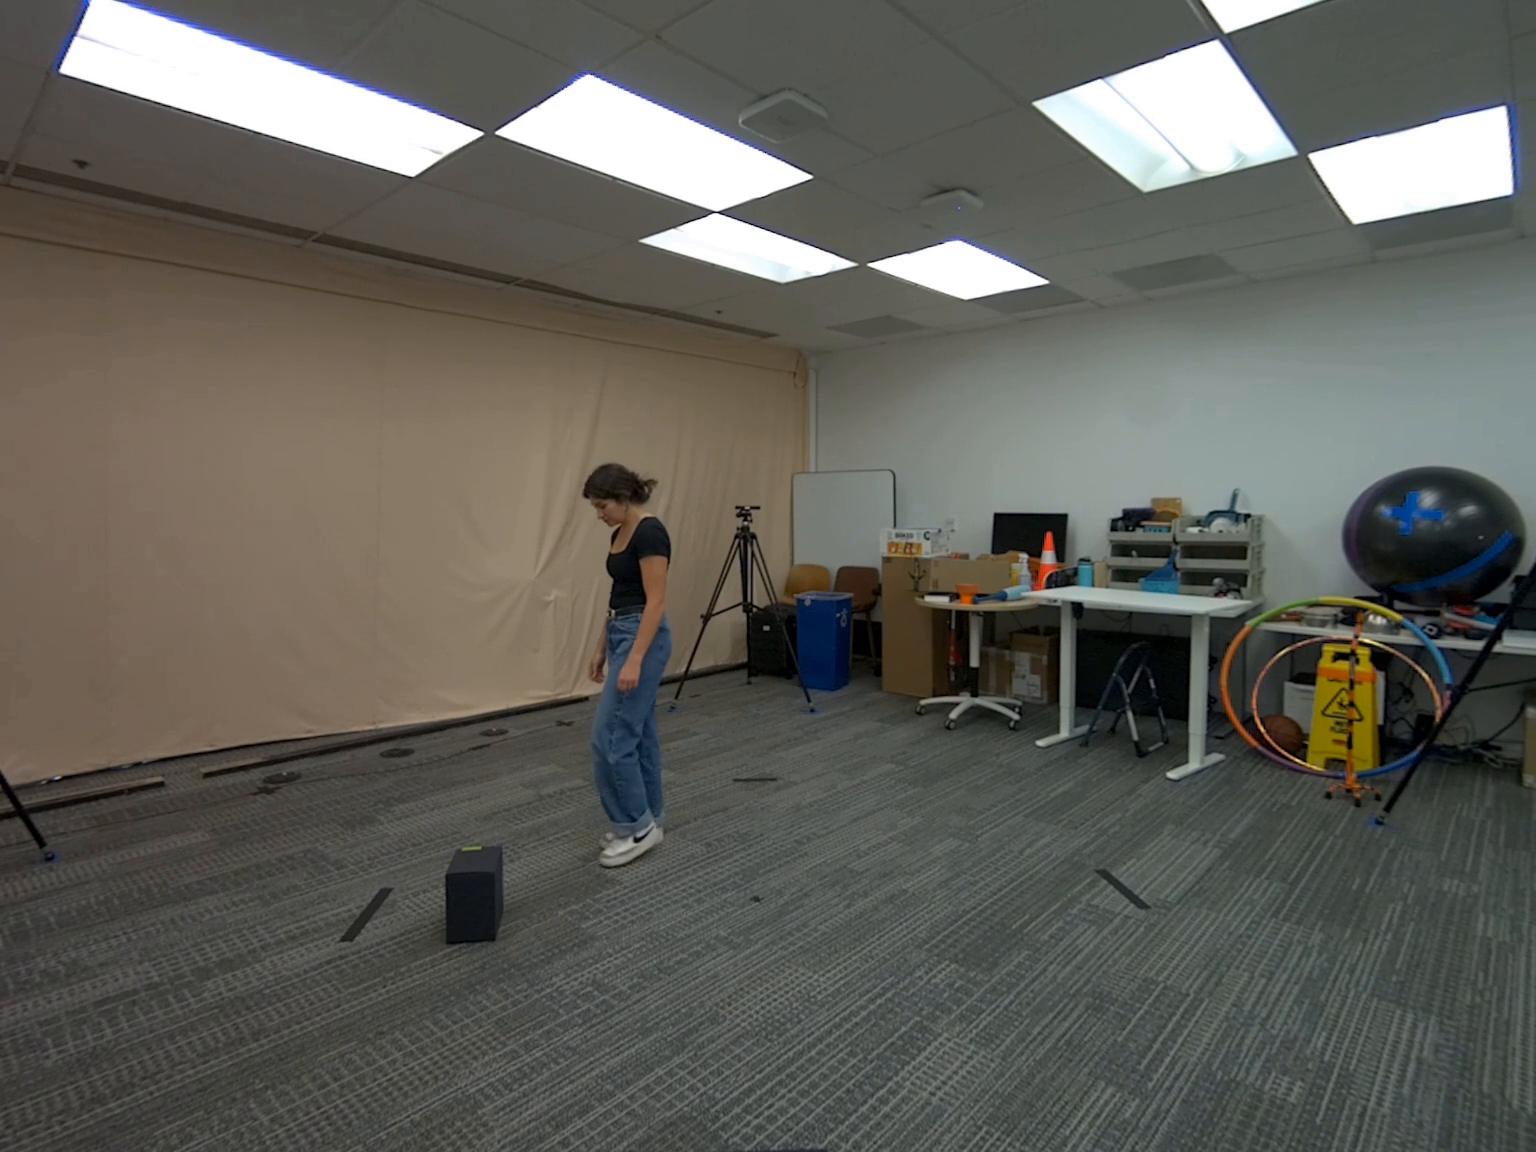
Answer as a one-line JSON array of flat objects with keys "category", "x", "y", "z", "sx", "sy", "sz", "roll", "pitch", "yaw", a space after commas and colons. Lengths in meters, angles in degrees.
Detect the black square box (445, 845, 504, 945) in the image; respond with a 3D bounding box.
[{"category": "black square box", "x": -0.971, "y": 1.047, "z": 2.789, "sx": 0.154, "sy": 0.227, "sz": 0.219, "roll": 0, "pitch": 3, "yaw": -10}]
